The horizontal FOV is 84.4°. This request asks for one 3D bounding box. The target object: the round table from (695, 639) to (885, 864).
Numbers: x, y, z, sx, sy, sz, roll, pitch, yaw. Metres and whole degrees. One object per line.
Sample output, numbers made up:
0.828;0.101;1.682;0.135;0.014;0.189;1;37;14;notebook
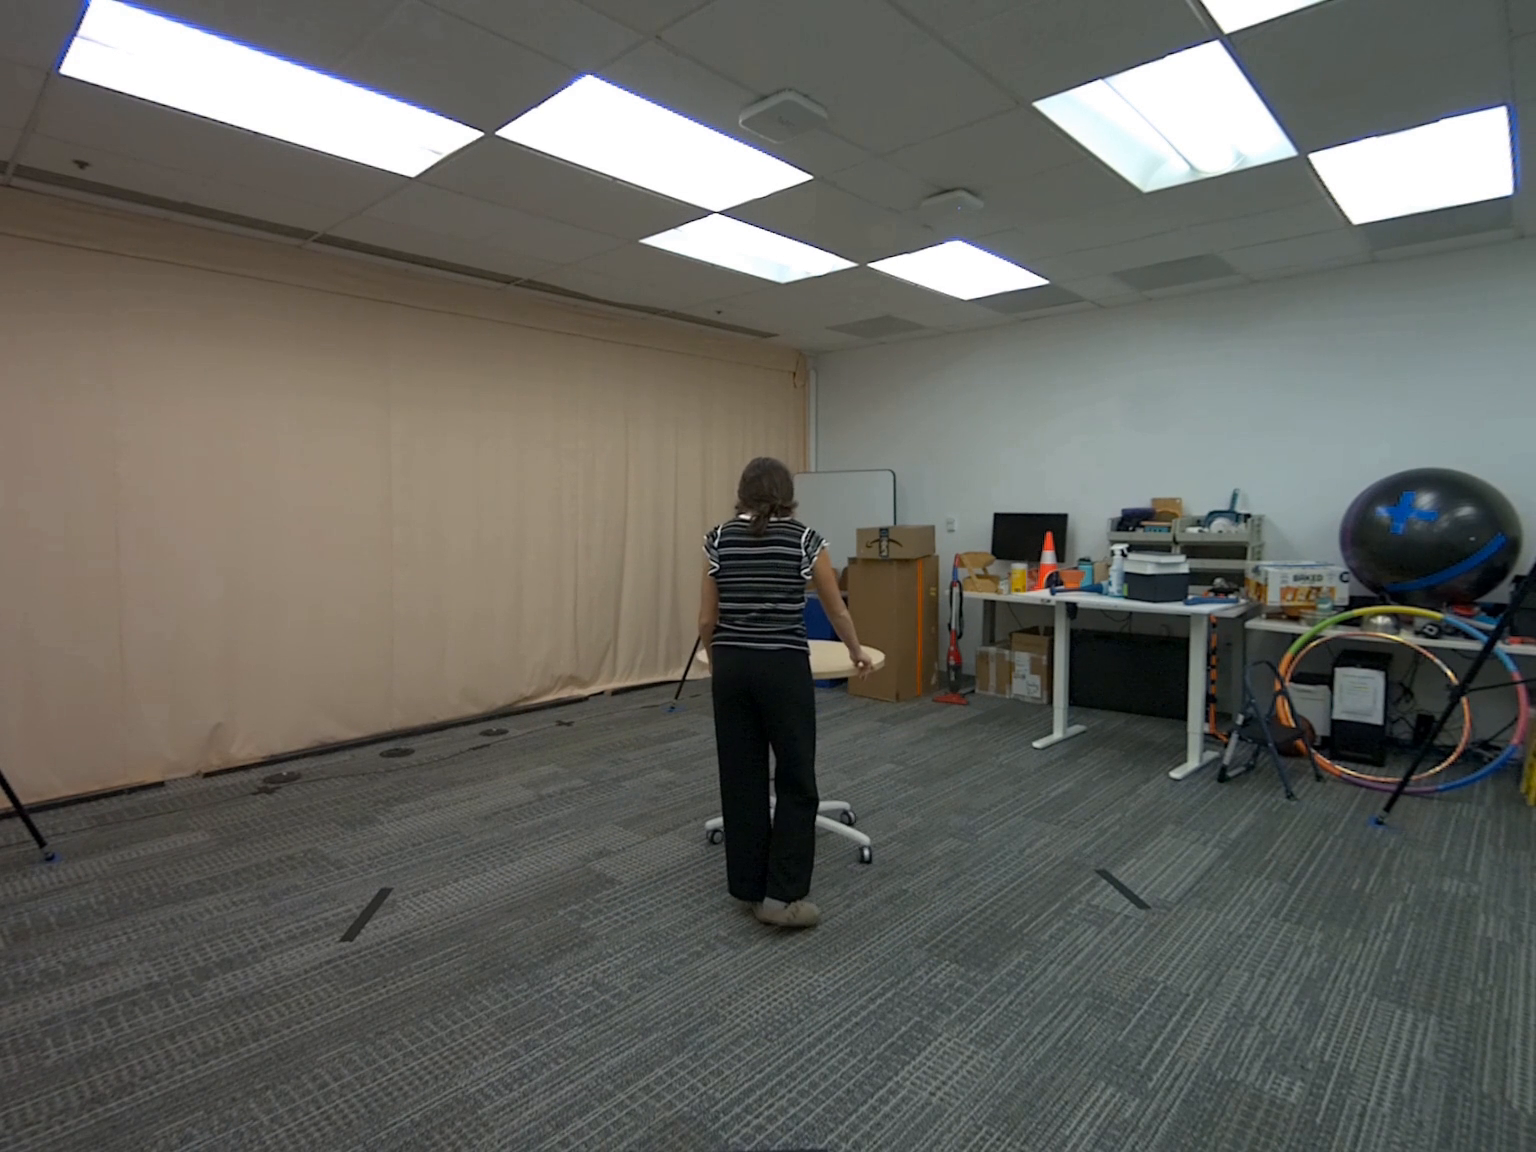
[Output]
0.086;0.709;3.455;0.784;0.785;0.788;0;3;-2;round table
